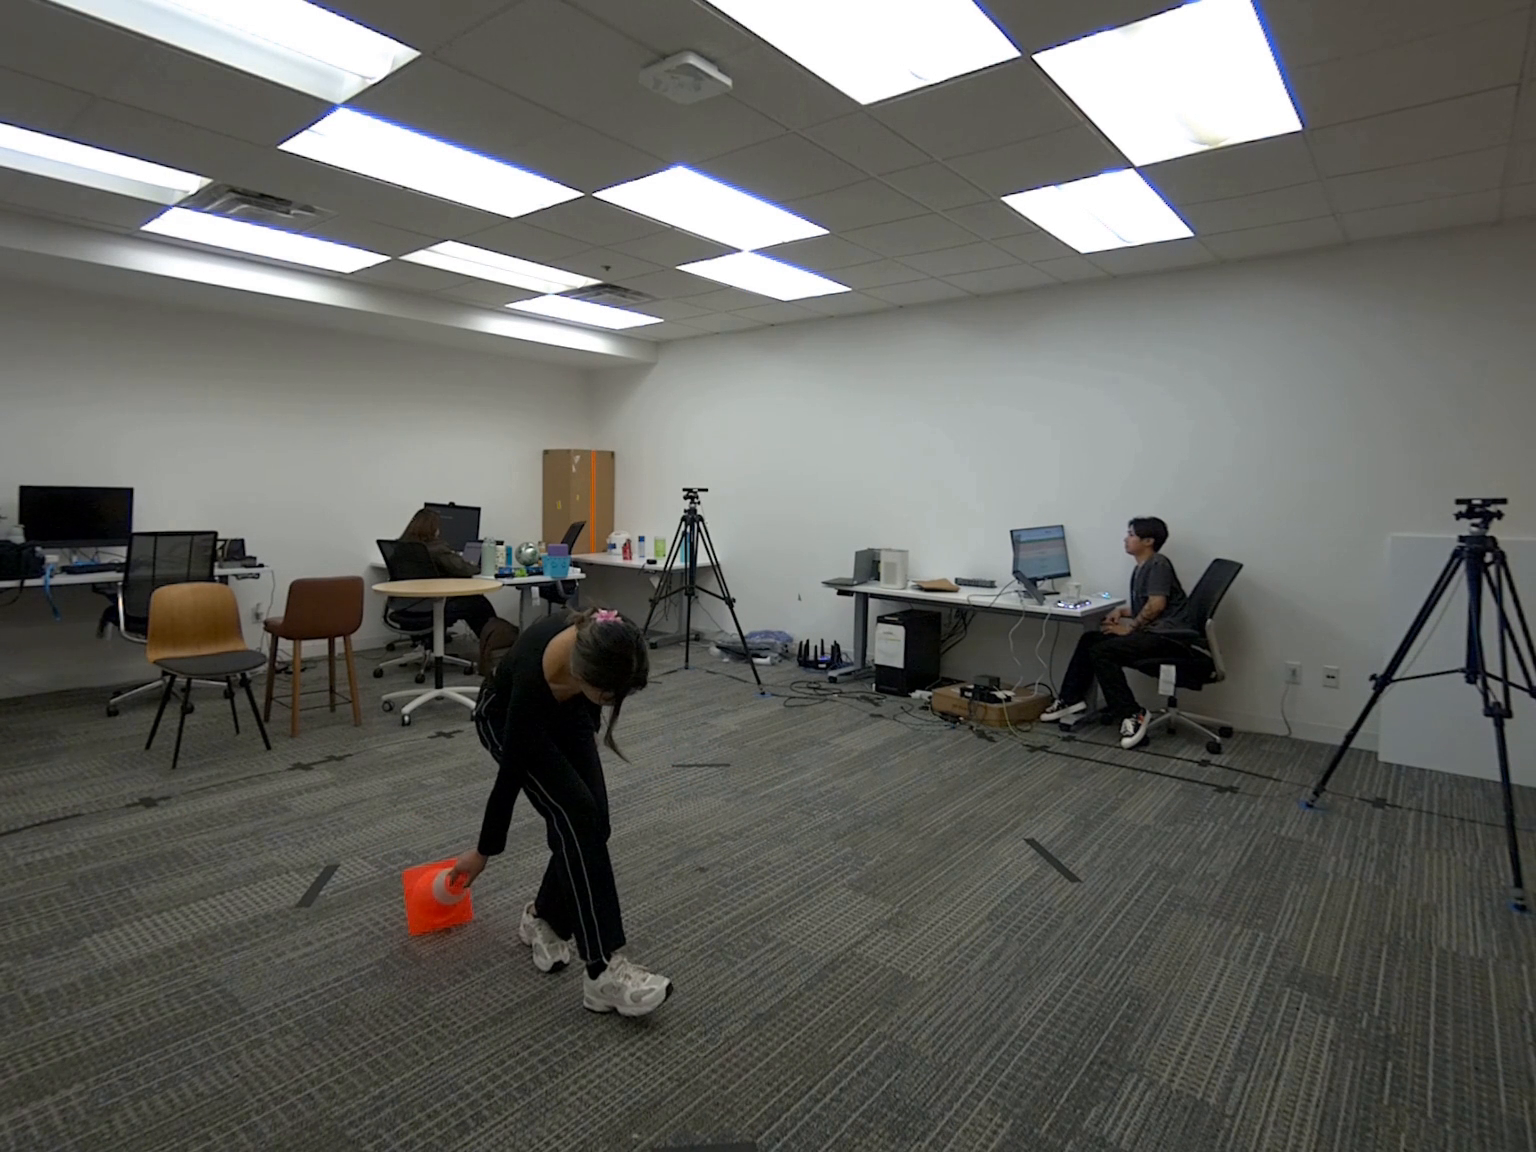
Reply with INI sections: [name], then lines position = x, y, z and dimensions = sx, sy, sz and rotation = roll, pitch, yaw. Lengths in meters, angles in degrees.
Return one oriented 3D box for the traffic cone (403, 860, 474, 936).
[traffic cone]
position = -0.968, 0.929, 2.560
dimensions = 0.200, 0.209, 0.383
rotation = -1, -27, -28
